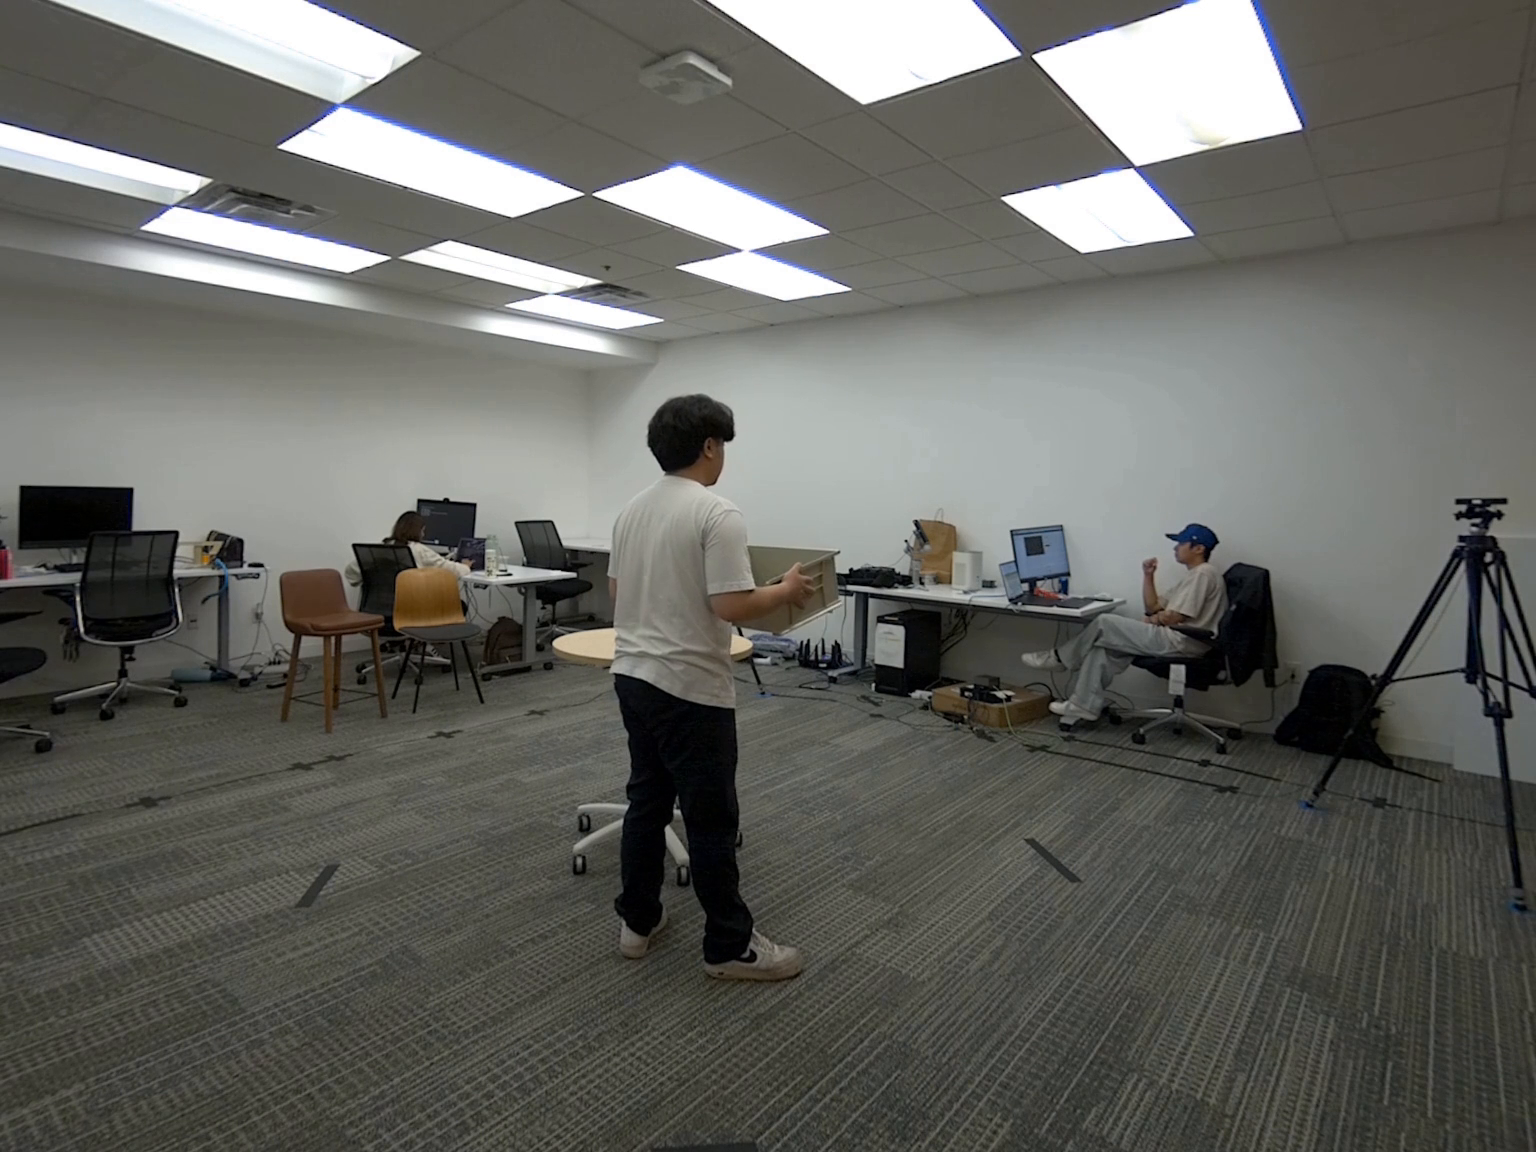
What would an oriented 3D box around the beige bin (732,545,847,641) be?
[{"bbox_3d":[-0.041,0.038,2.746,0.369,0.187,0.436,-19,16,-42],"label":"beige bin"}]
